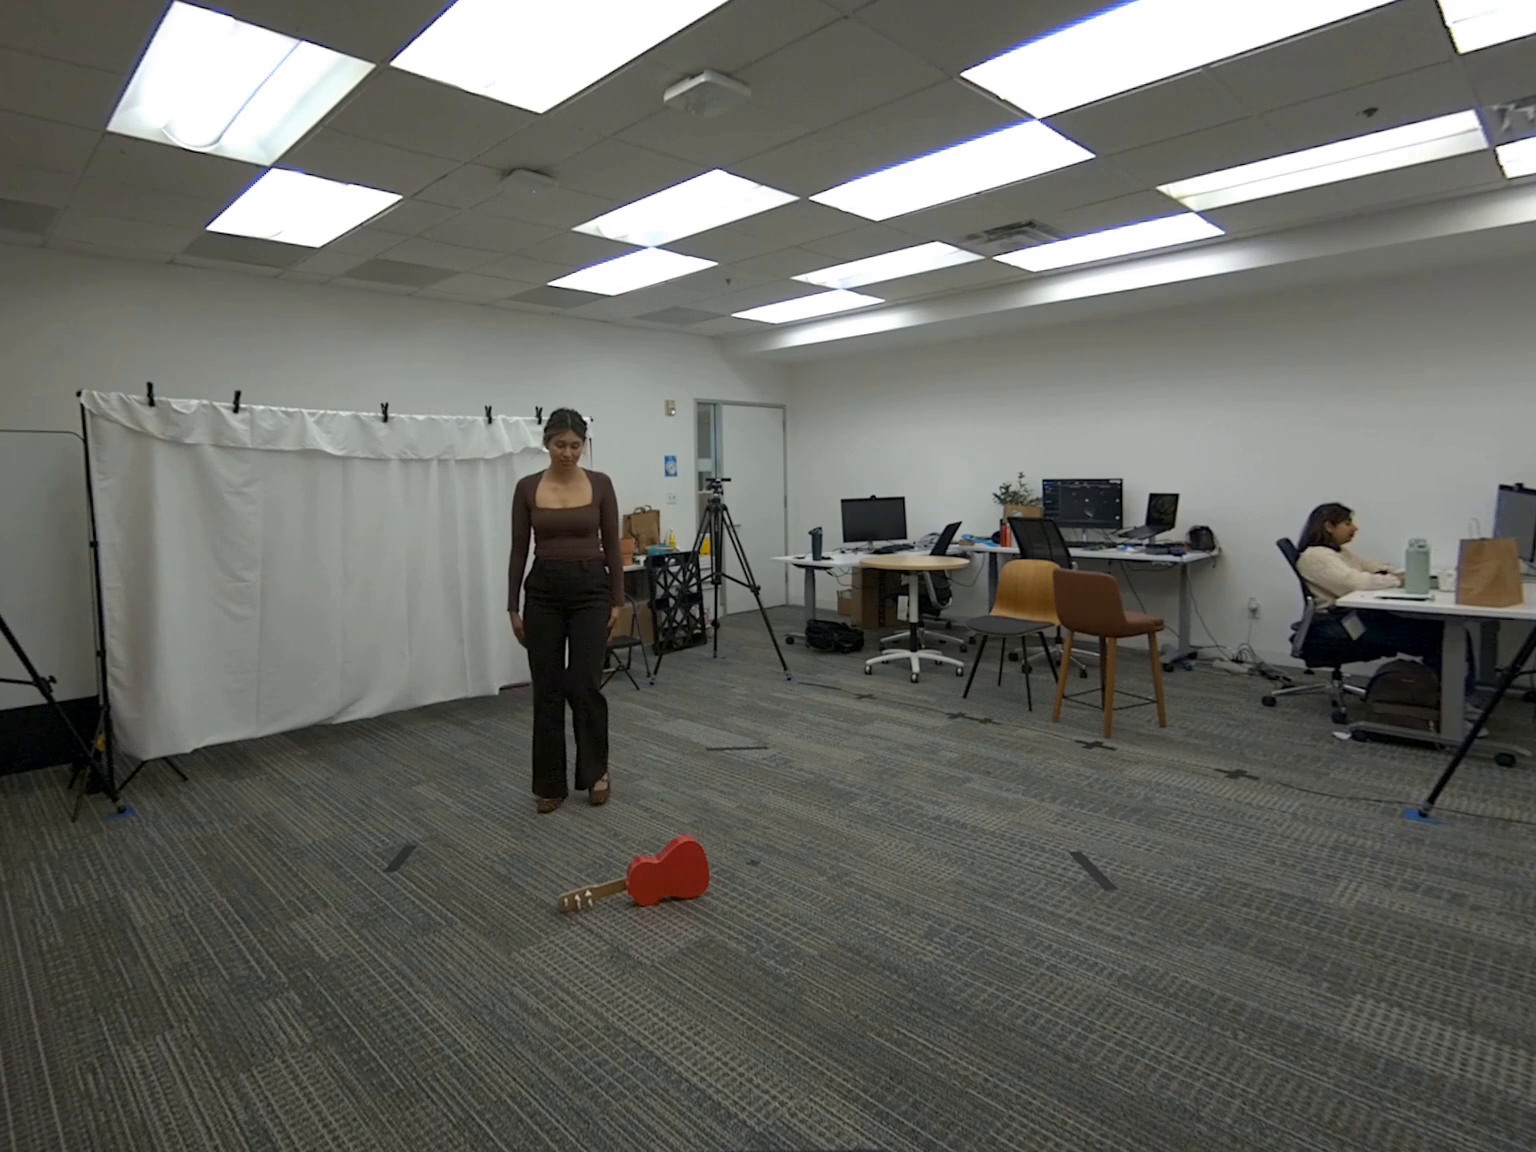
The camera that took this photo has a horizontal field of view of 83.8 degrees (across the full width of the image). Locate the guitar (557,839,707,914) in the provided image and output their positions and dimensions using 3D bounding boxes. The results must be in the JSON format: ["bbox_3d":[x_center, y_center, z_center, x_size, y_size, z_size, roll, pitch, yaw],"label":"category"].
[{"bbox_3d":[-0.429,1.041,2.823,0.494,0.191,0.072,-22,7,-15],"label":"guitar"}]
